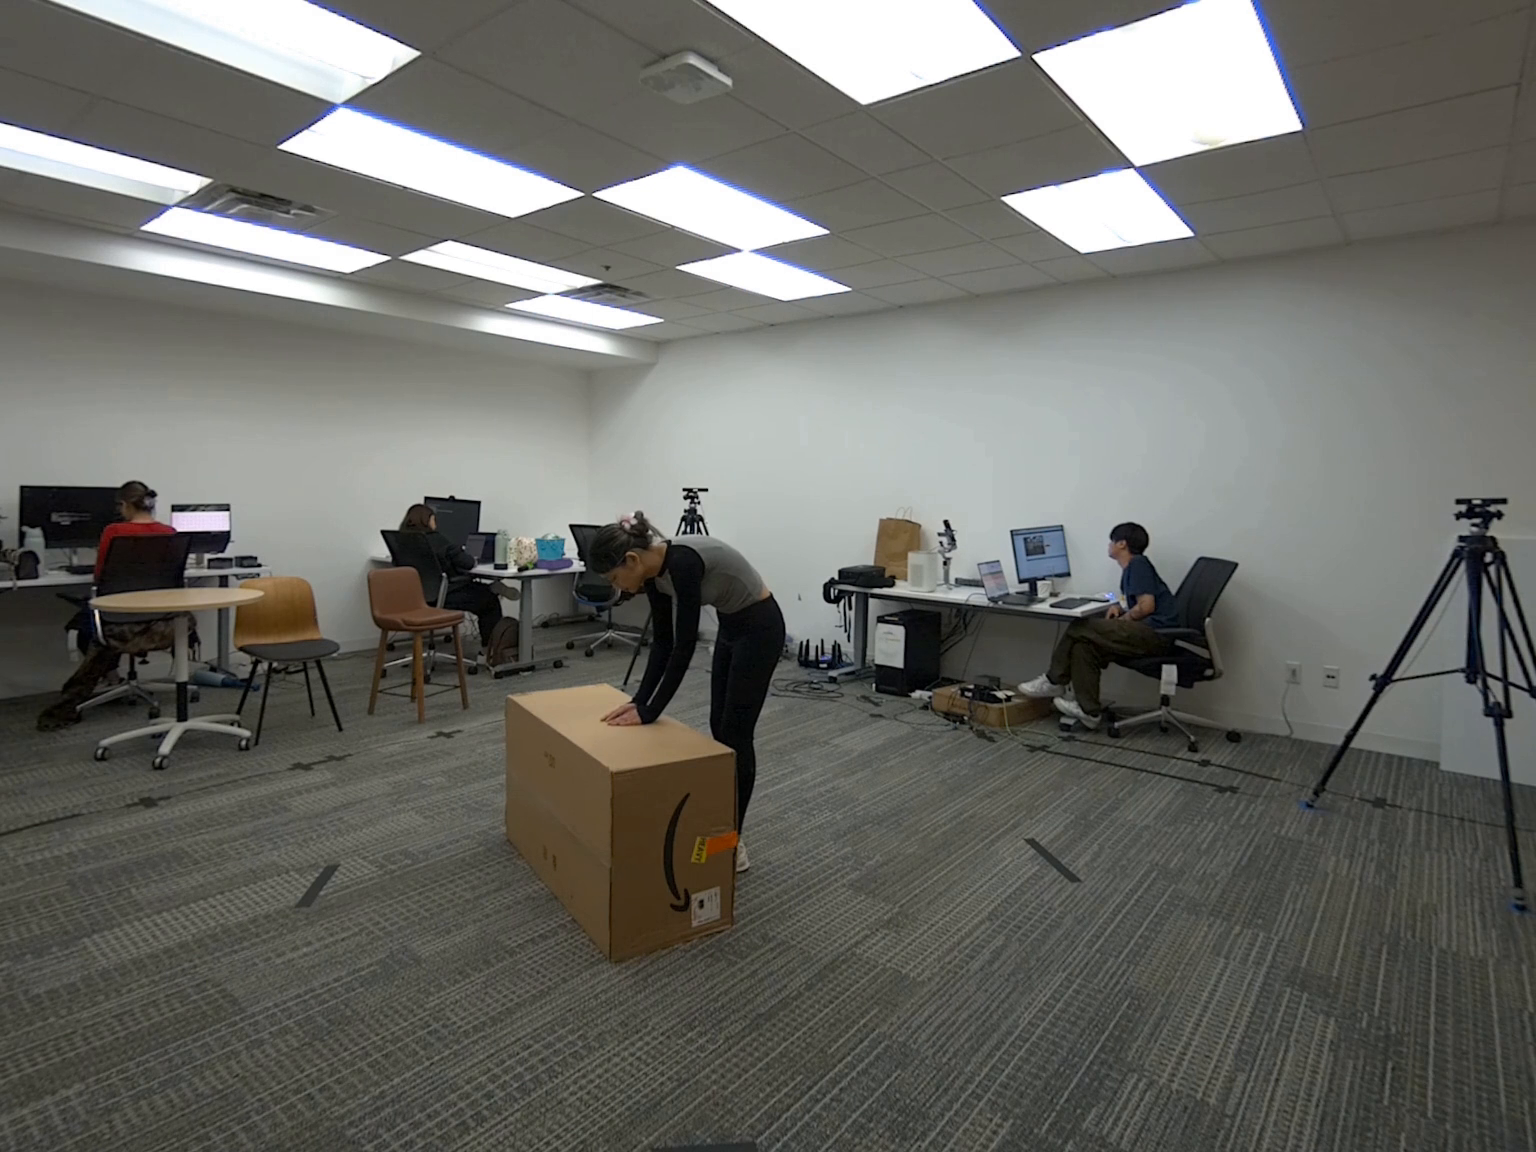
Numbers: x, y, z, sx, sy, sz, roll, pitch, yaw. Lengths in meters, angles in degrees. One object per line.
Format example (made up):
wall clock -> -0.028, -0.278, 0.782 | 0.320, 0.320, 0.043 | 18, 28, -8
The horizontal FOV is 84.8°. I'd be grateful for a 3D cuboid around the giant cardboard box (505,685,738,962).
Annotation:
giant cardboard box -> -0.575, 0.787, 2.999 | 0.414, 0.575, 1.059 | -1, 6, -32
